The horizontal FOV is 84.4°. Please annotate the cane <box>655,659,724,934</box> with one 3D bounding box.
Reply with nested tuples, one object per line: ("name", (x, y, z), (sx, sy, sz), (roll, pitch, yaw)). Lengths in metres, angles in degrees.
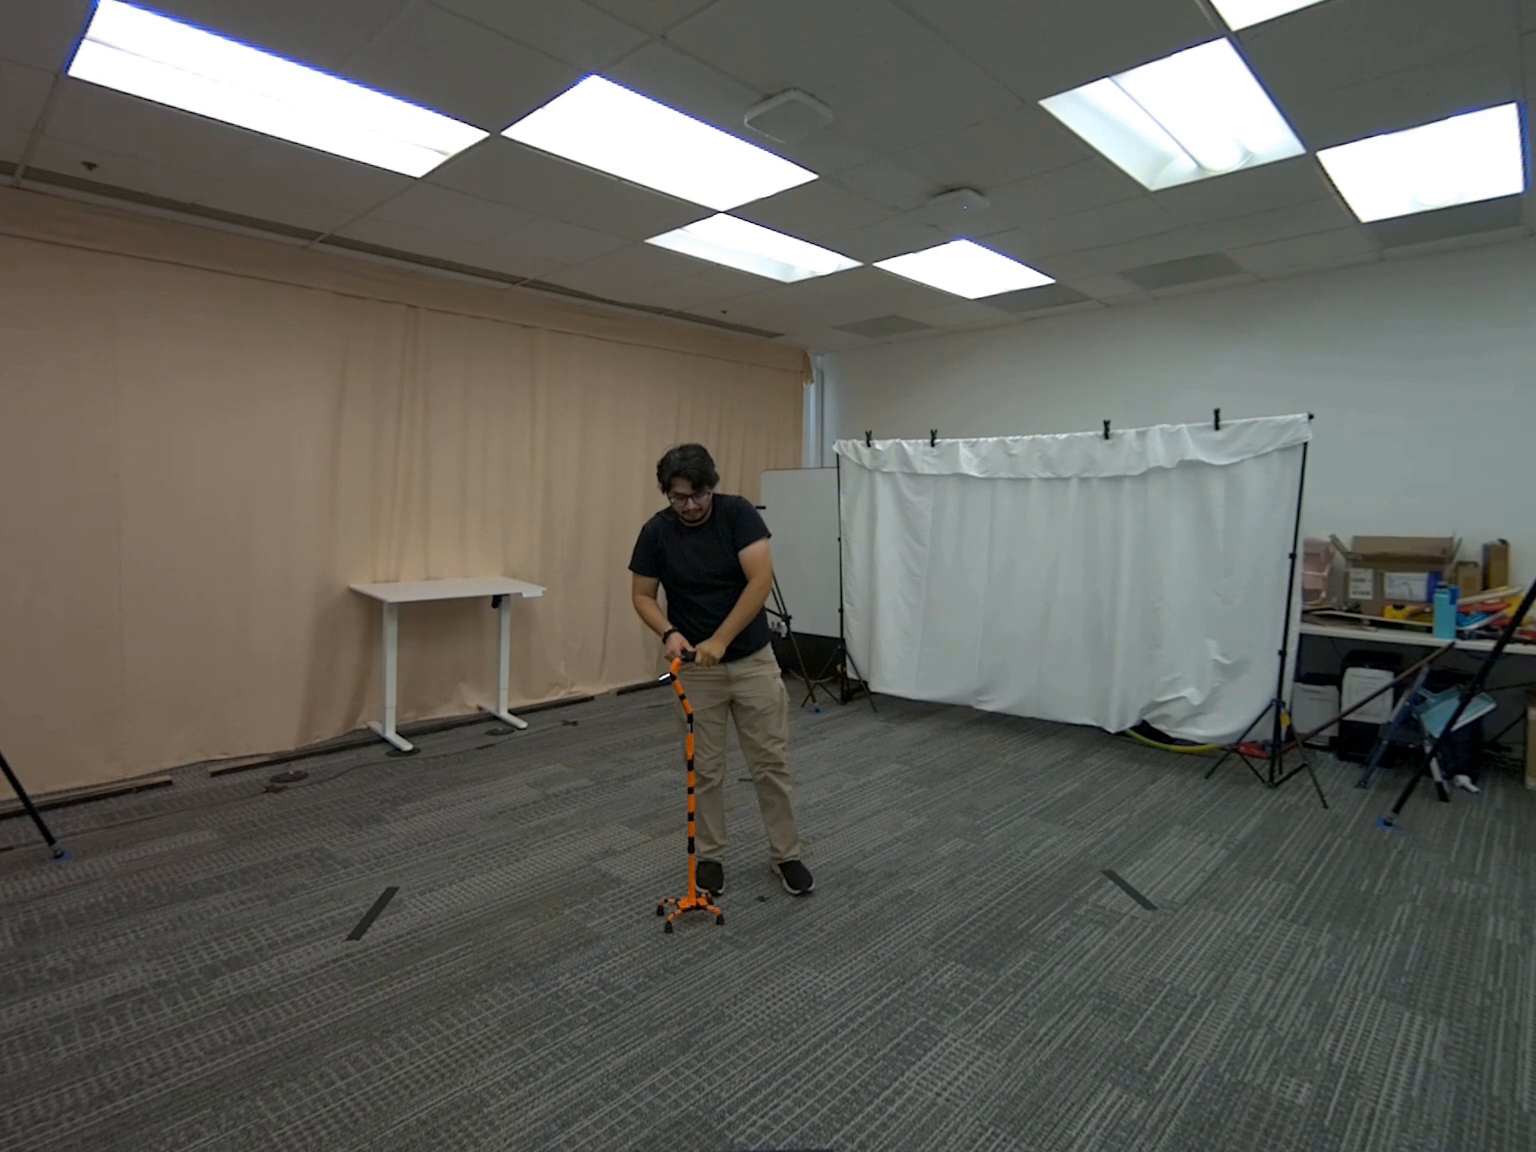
("cane", (-0.262, 0.706, 2.819), (0.202, 0.906, 0.155), (-1, 3, -20))
